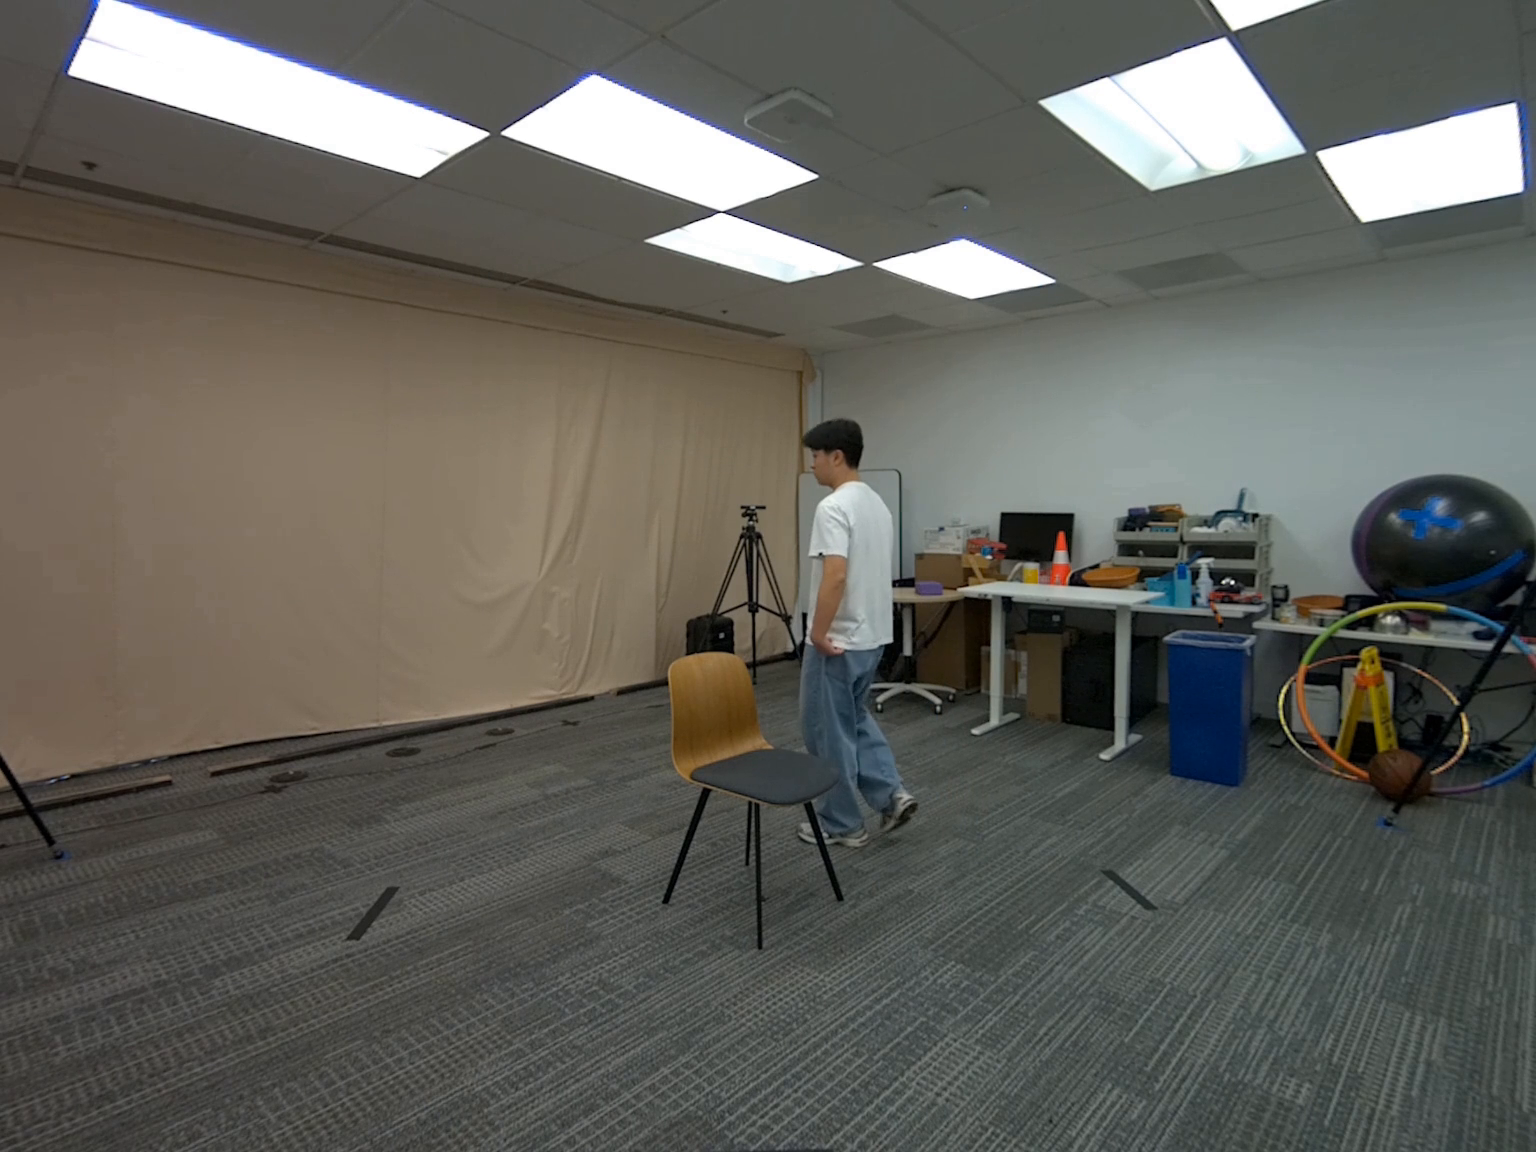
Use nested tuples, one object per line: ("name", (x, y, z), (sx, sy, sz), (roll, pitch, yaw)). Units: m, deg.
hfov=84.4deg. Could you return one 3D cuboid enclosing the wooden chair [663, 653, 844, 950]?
("wooden chair", (-0.046, 0.721, 2.921), (0.539, 0.877, 0.463), (-3, 0, 42))
